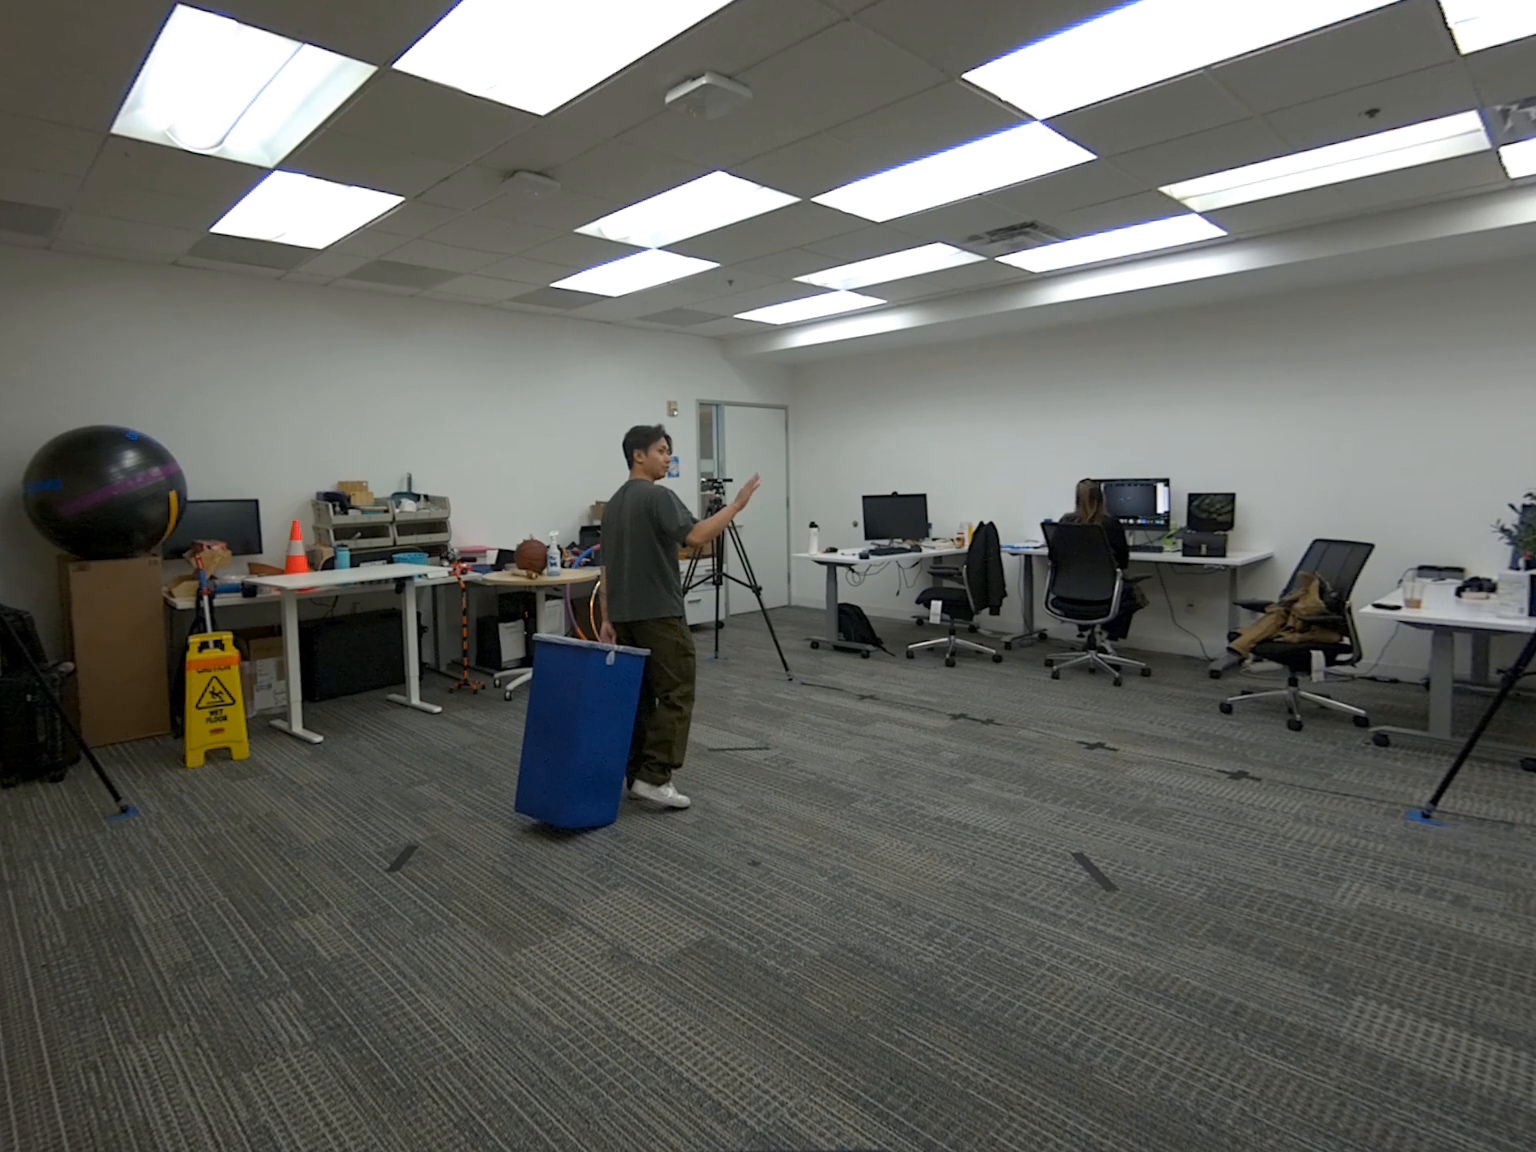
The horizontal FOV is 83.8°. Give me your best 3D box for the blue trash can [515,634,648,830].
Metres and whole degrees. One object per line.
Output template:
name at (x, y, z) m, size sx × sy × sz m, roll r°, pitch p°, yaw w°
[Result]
blue trash can at (-0.792, 0.627, 3.530) m, size 0.385 × 0.718 × 0.365 m, roll 3°, pitch -10°, yaw 35°
